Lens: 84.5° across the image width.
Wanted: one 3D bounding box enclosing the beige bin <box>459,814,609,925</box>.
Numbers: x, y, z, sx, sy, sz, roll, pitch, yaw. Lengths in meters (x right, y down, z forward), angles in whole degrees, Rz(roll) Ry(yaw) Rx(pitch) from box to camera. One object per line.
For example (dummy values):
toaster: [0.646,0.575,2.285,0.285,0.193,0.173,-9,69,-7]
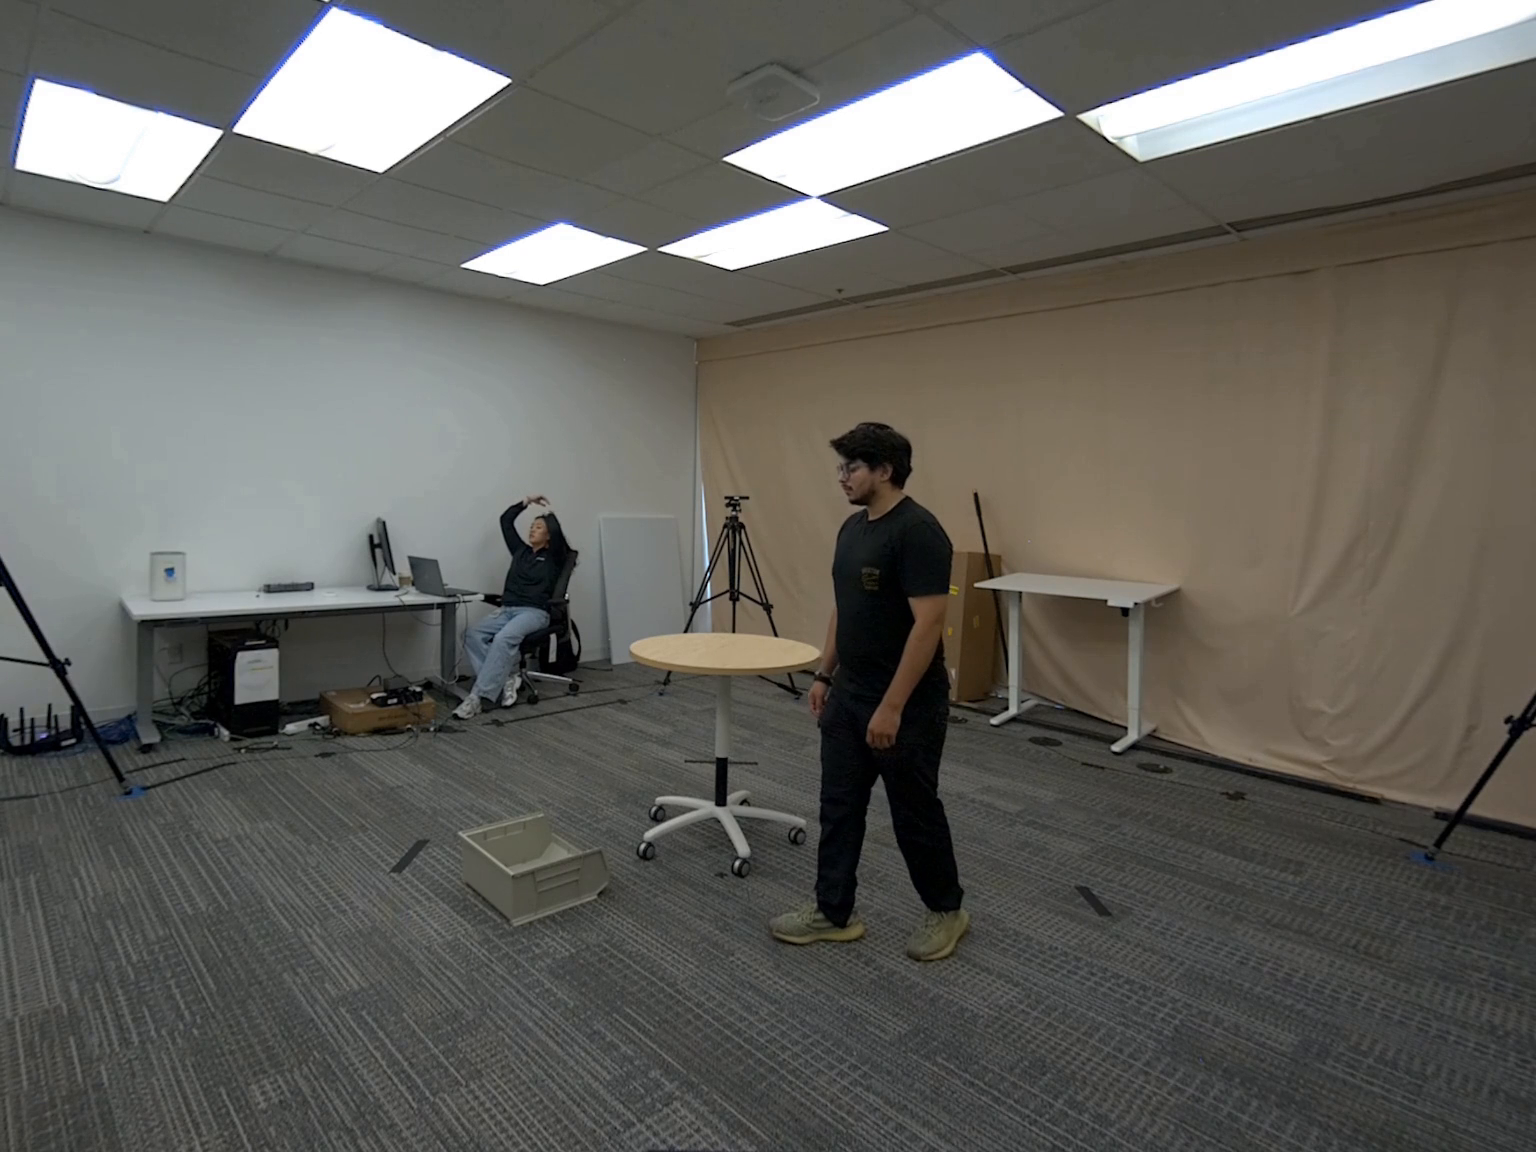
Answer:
beige bin: [-0.829,1.015,2.961,0.369,0.188,0.433,-4,8,-42]
